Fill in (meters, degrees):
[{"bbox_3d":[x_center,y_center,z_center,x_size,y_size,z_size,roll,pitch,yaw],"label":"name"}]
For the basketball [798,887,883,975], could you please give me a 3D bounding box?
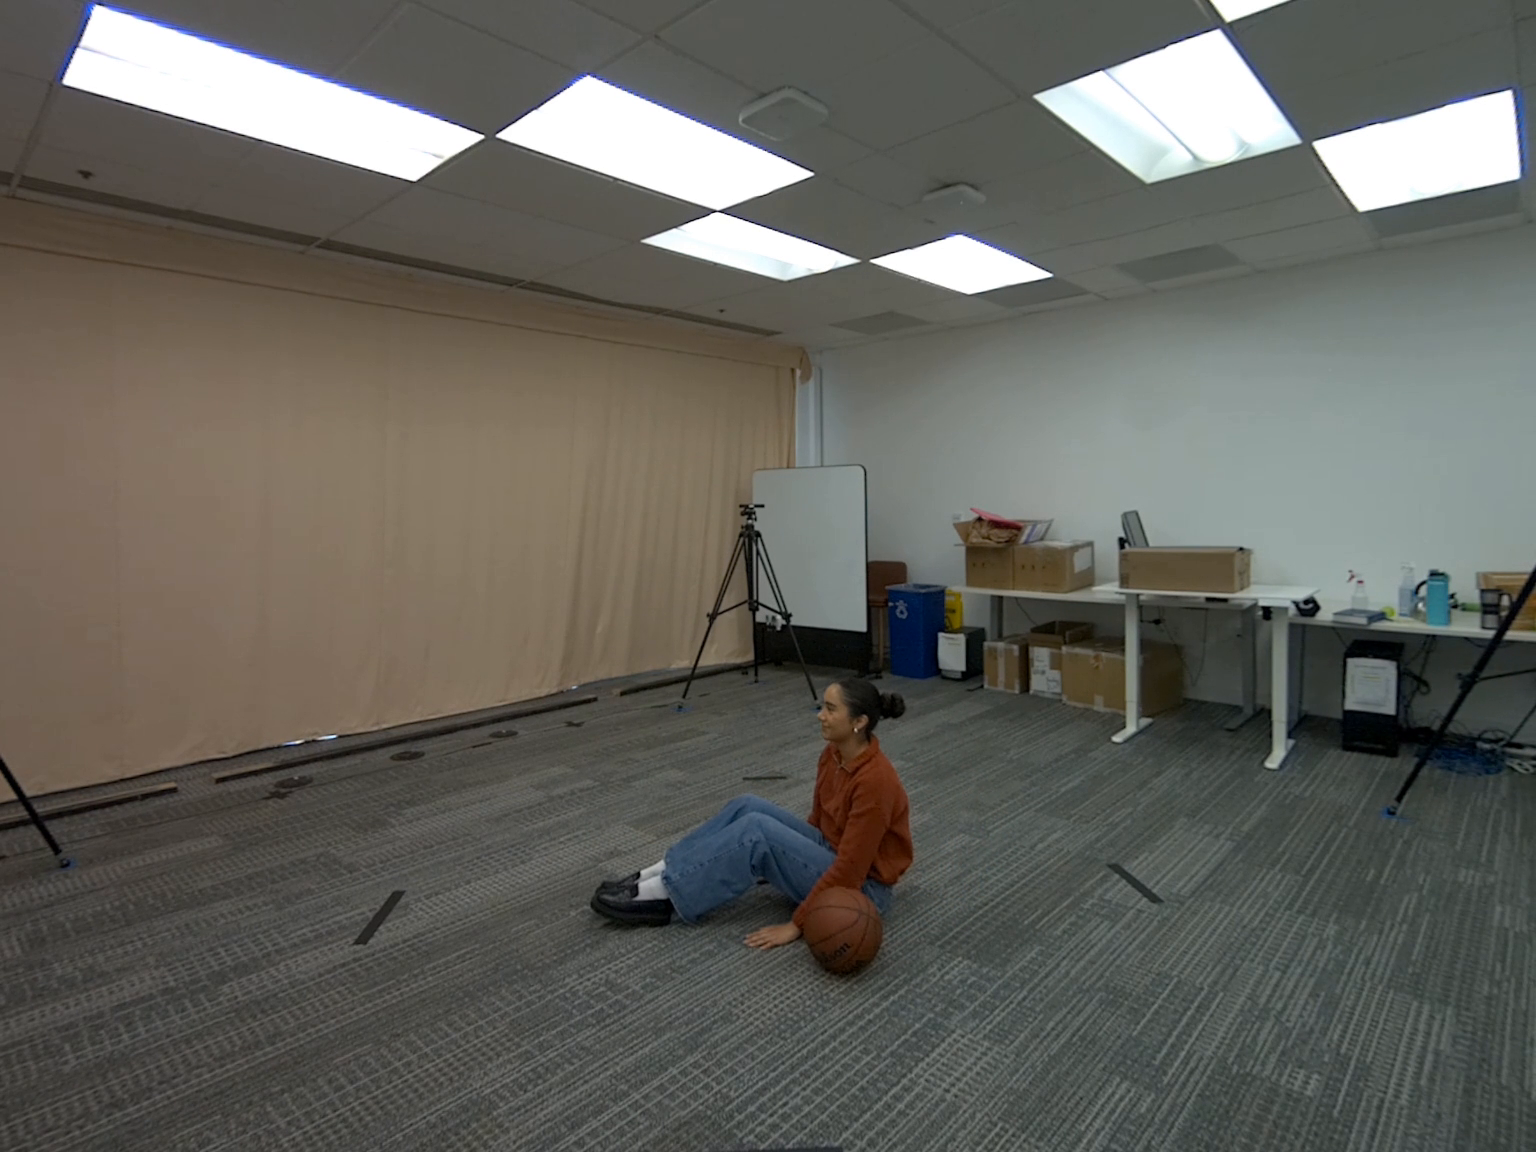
[{"bbox_3d":[0.223,1.051,2.524,0.236,0.235,0.237,-1,4,-2],"label":"basketball"}]
